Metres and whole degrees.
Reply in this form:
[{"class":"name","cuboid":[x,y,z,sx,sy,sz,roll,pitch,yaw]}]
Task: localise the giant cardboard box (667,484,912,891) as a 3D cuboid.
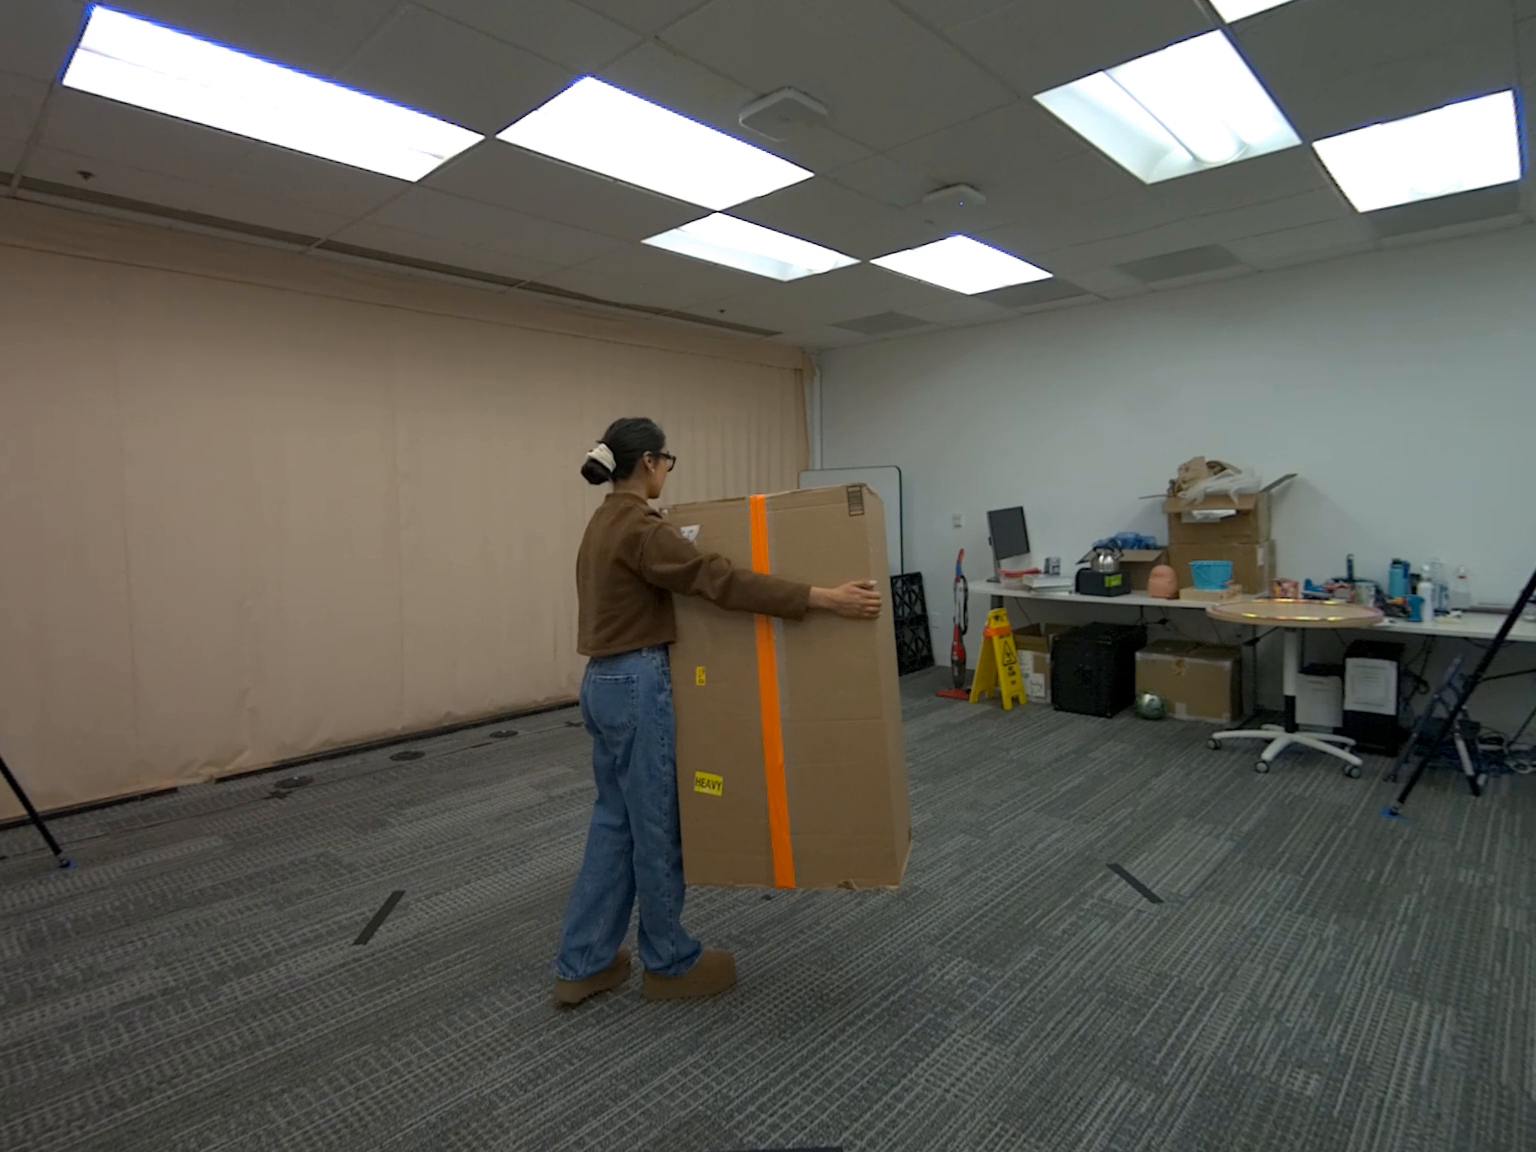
[{"class":"giant cardboard box","cuboid":[0.063,0.300,2.402,0.587,1.029,0.418,-5,-4,16]}]
